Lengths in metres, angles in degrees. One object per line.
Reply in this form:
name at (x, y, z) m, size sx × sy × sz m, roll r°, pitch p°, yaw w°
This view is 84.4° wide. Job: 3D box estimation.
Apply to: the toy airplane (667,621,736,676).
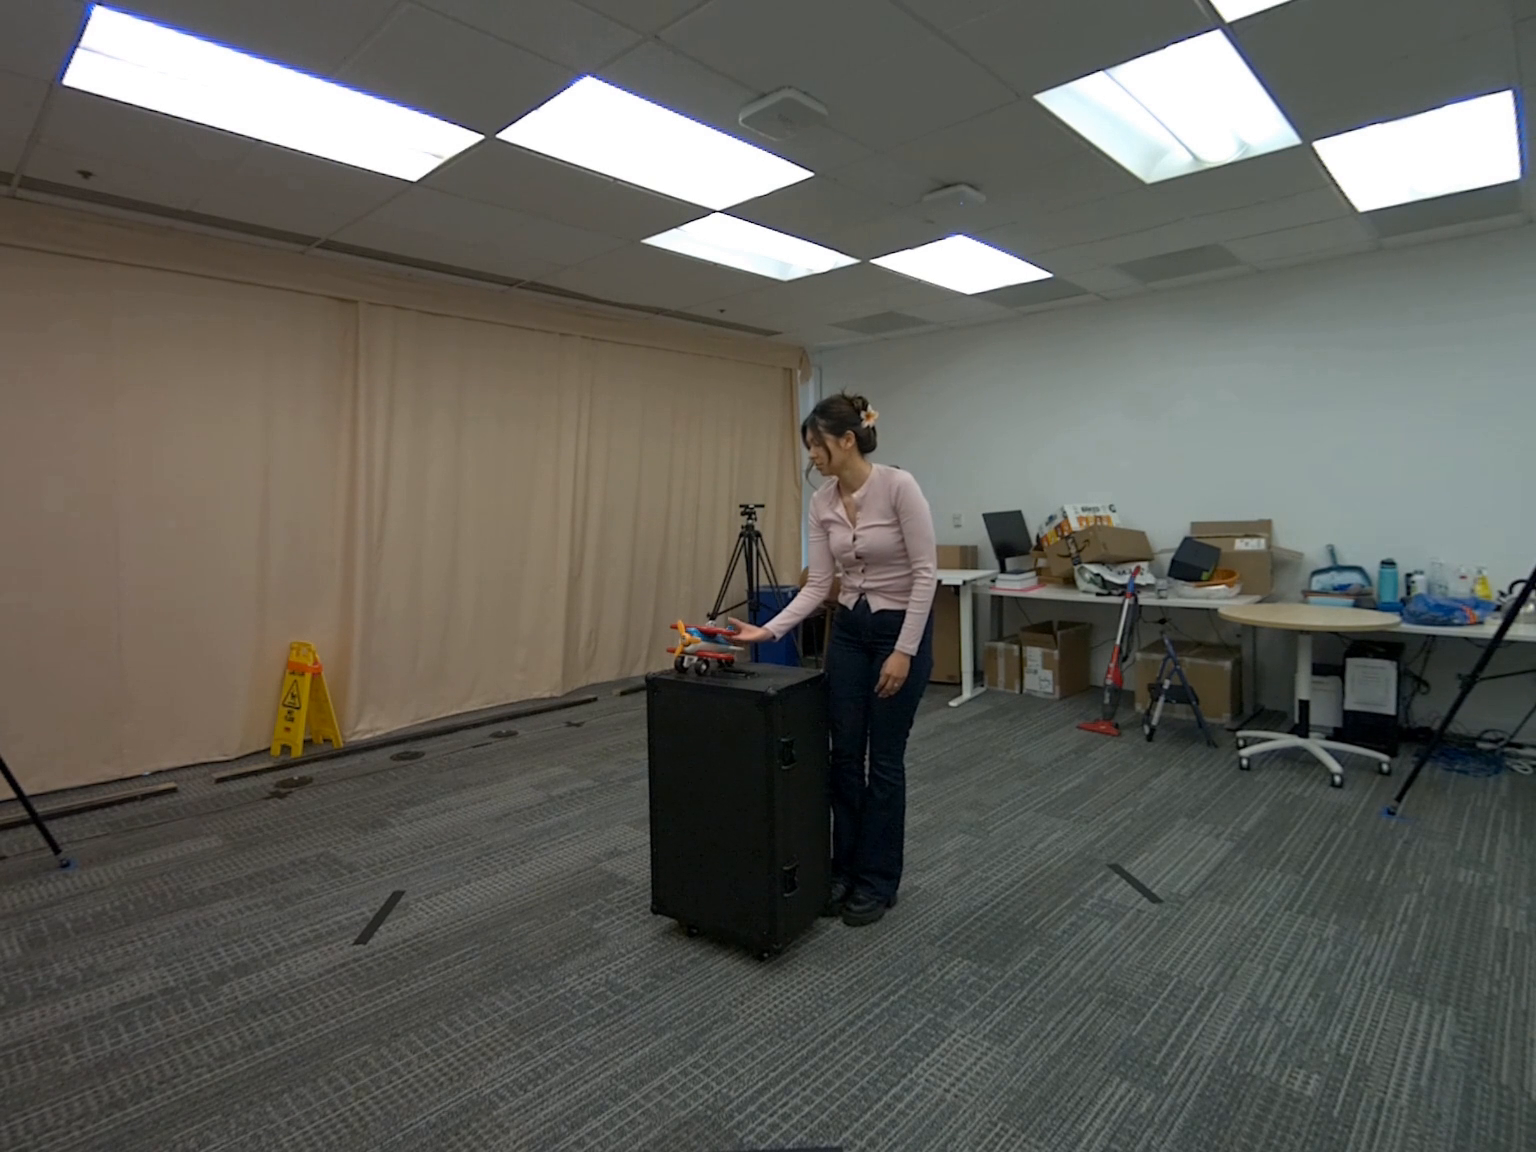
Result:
toy airplane at (-0.212, 0.241, 2.784) m, size 0.254 × 0.156 × 0.257 m, roll 1°, pitch 5°, yaw 10°
